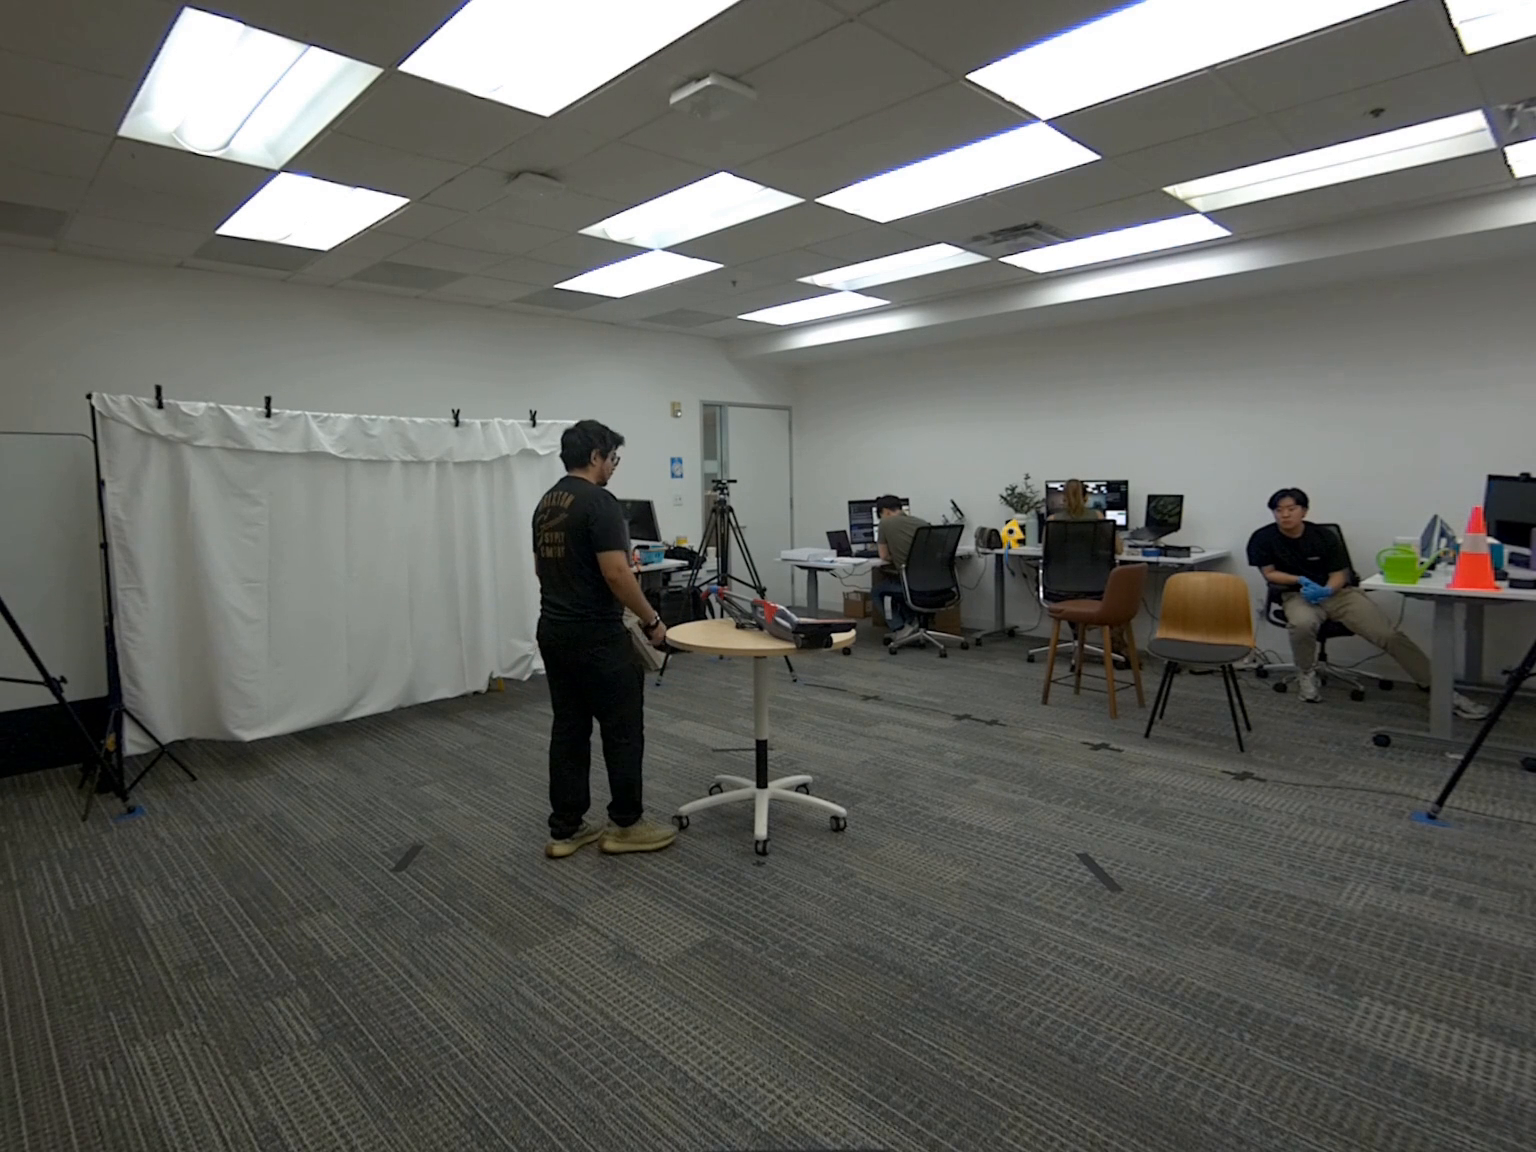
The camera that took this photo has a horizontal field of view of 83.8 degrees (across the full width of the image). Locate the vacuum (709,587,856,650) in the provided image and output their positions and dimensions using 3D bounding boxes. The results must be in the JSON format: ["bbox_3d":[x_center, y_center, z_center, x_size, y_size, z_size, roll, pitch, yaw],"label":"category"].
[{"bbox_3d":[-0.072,0.161,3.541,0.246,0.143,1.079,3,5,-29],"label":"vacuum"}]
